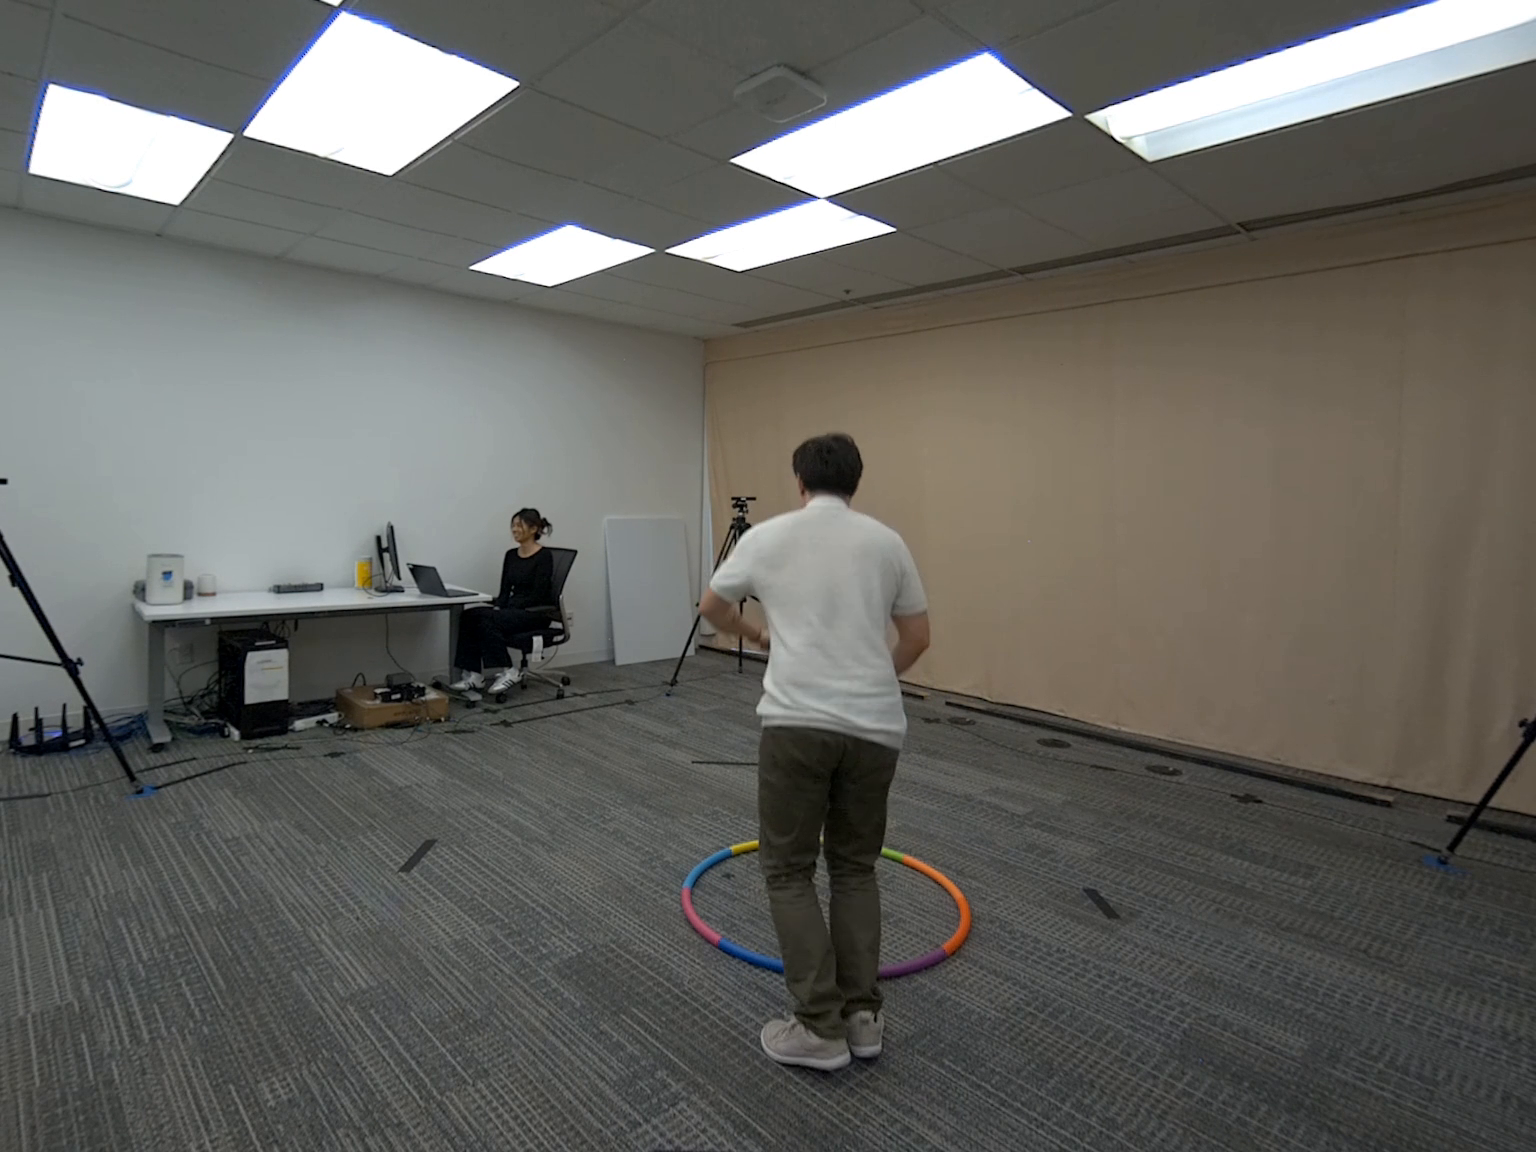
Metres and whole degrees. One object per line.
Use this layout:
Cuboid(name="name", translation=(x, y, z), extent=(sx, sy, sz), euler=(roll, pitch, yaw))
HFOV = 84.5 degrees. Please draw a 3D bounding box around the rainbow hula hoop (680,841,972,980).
Cuboid(name="rainbow hula hoop", translation=(0.184, 1.102, 2.923), extent=(0.978, 0.035, 0.982), euler=(1, 5, -1))
